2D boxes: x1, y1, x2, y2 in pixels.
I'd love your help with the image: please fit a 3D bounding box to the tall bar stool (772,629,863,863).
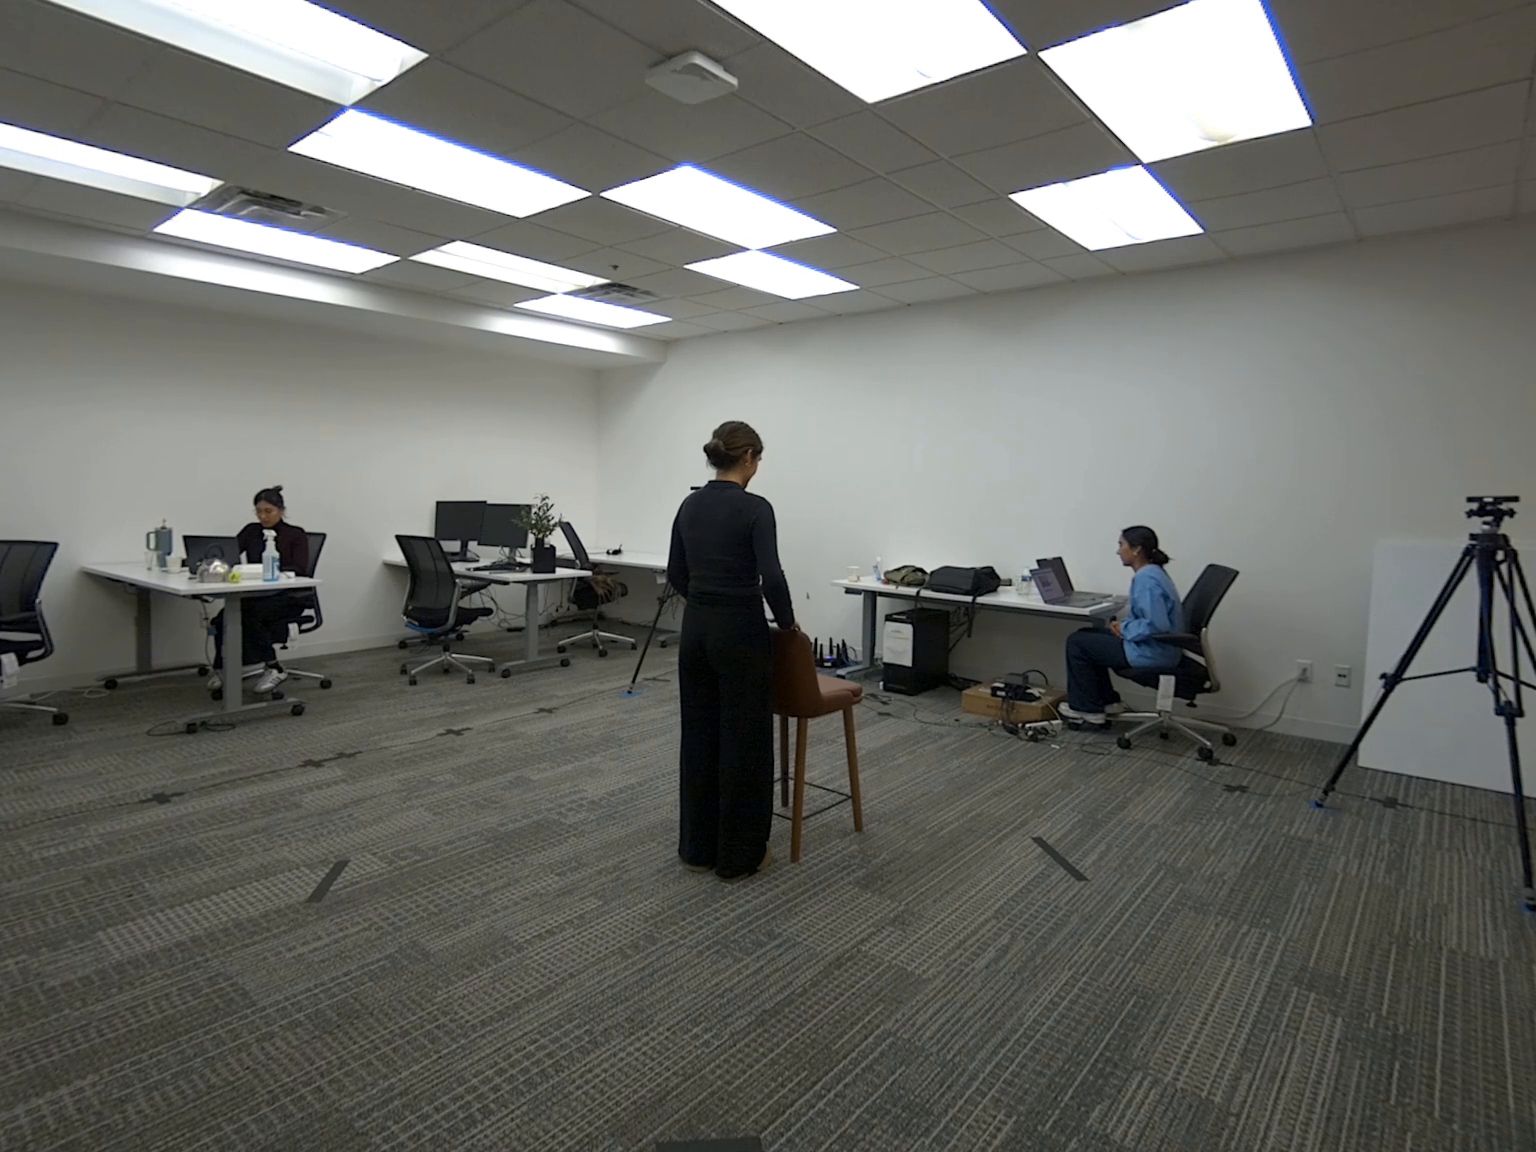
[{"bbox_3d":[0.088,0.600,3.421,0.472,0.886,0.454,4,6,40],"label":"tall bar stool"}]
